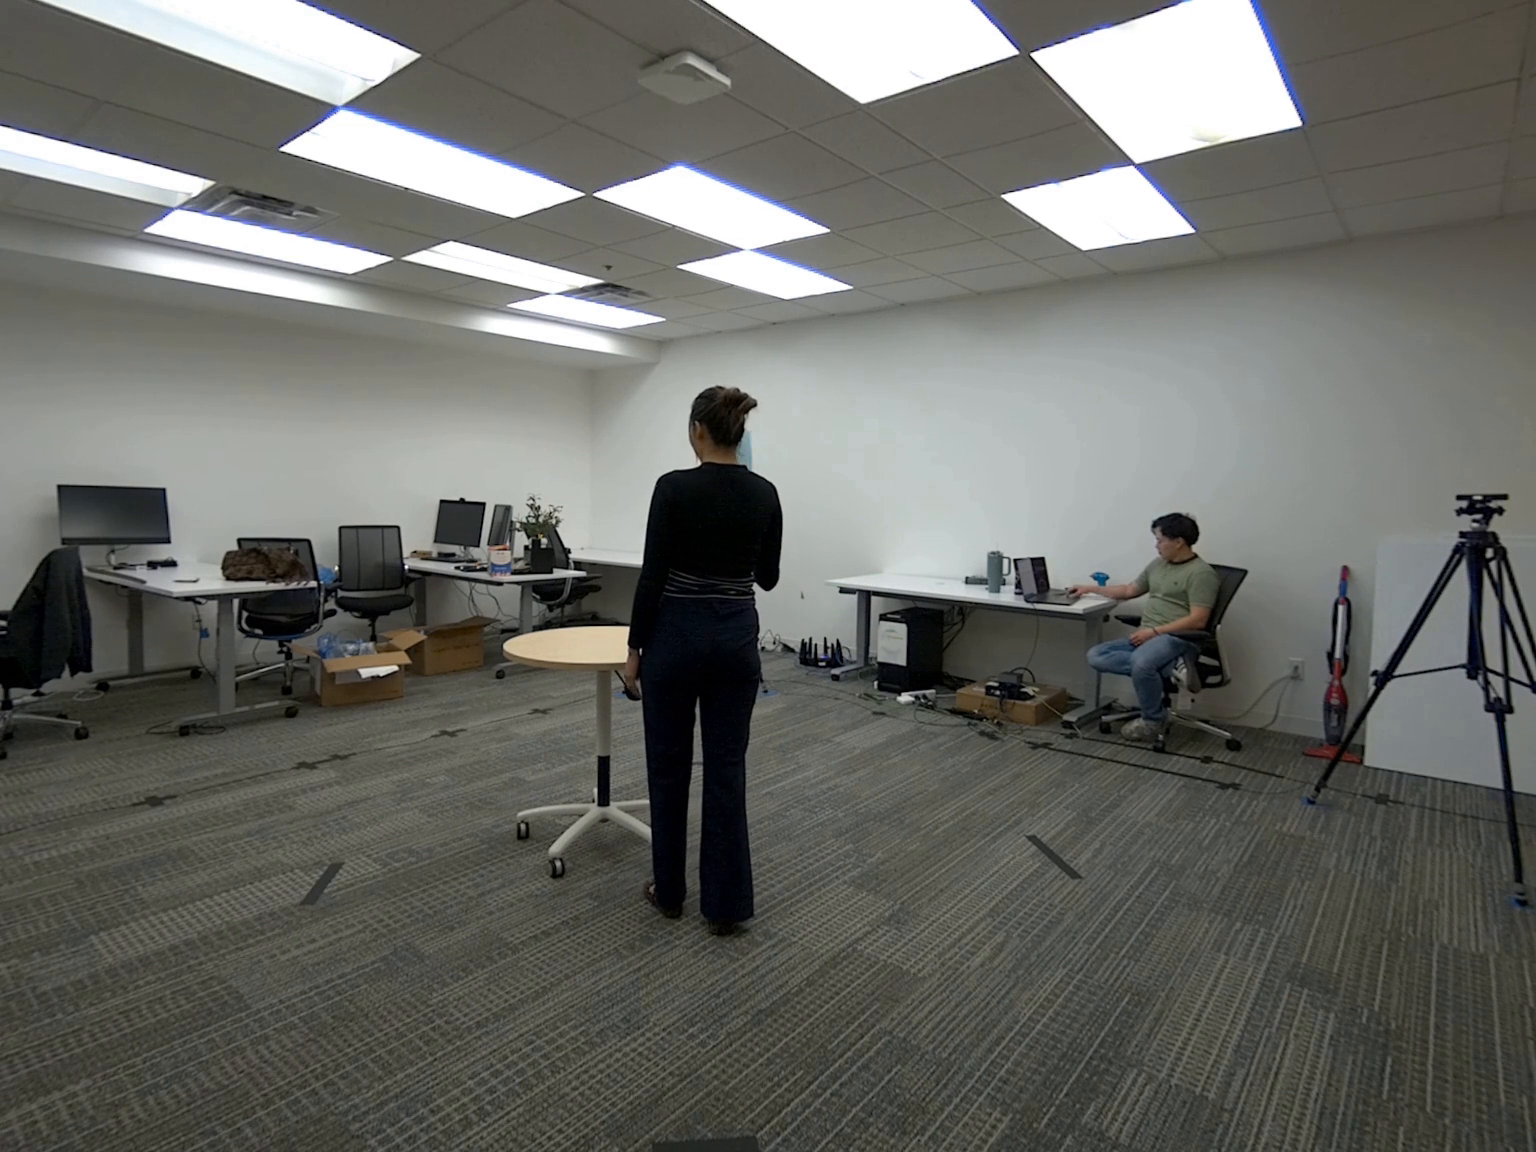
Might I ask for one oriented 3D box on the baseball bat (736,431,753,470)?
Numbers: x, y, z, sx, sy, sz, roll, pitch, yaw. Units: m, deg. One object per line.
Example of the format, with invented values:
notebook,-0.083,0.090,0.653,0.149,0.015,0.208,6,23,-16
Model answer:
baseball bat,-0.097,-0.285,3.230,0.089,0.552,0.088,-3,-16,-3
